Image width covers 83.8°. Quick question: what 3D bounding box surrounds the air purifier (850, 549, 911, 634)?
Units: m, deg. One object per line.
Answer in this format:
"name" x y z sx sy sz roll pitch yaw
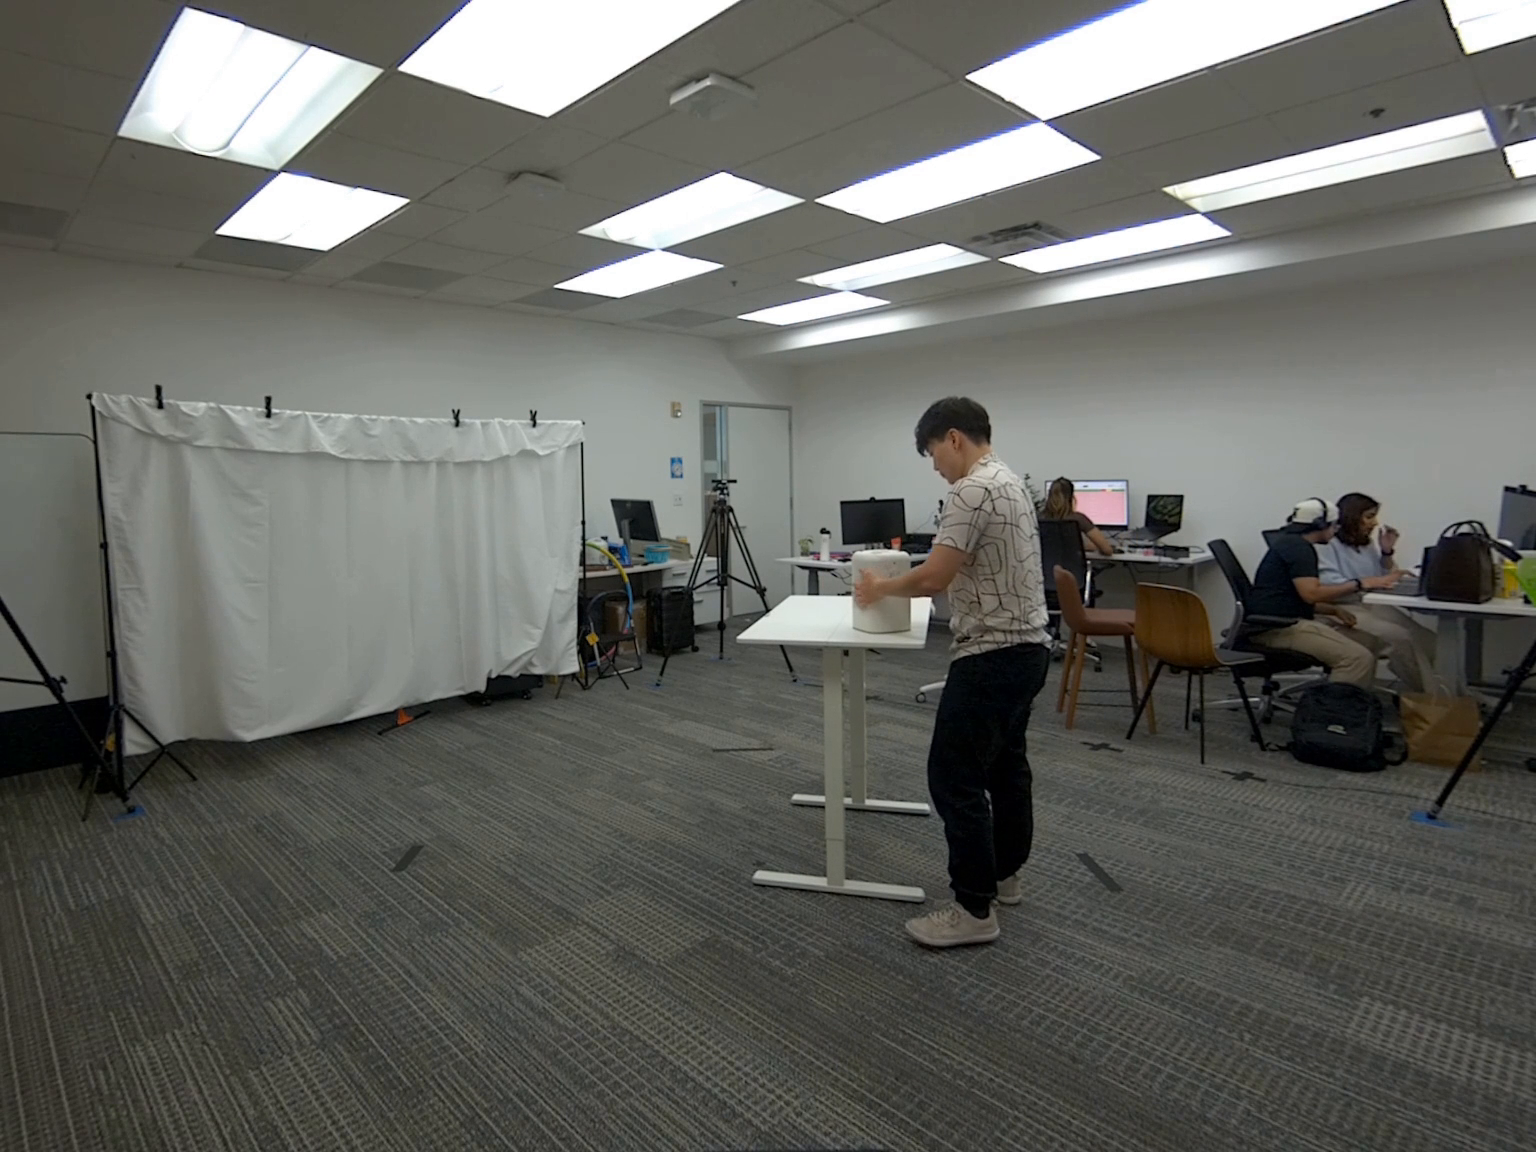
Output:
"air purifier" 0.389 0.048 2.905 0.168 0.264 0.175 -3 4 -20
